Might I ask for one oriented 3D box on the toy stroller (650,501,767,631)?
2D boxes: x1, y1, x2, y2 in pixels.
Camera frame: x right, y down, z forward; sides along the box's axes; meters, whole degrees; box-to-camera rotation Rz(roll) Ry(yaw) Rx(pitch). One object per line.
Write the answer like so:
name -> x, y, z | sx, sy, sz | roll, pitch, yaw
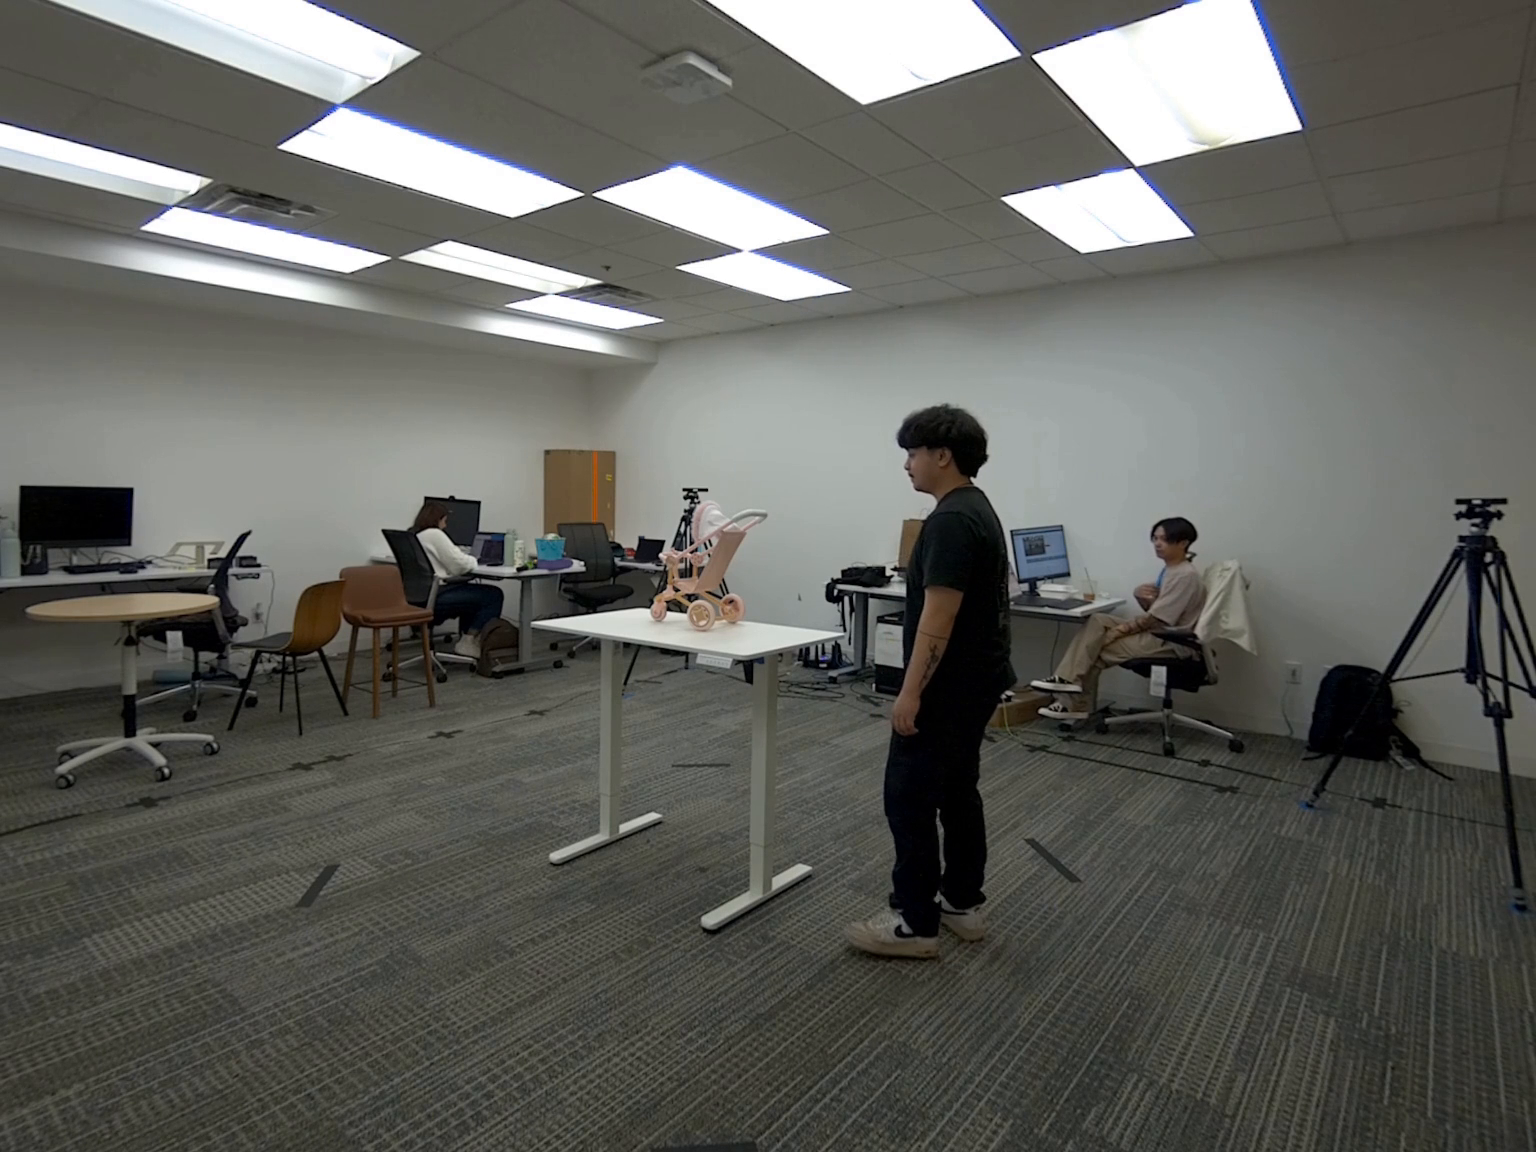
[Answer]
toy stroller -> -0.251, -0.041, 3.159 | 0.353, 0.531, 0.274 | 20, 11, 28
